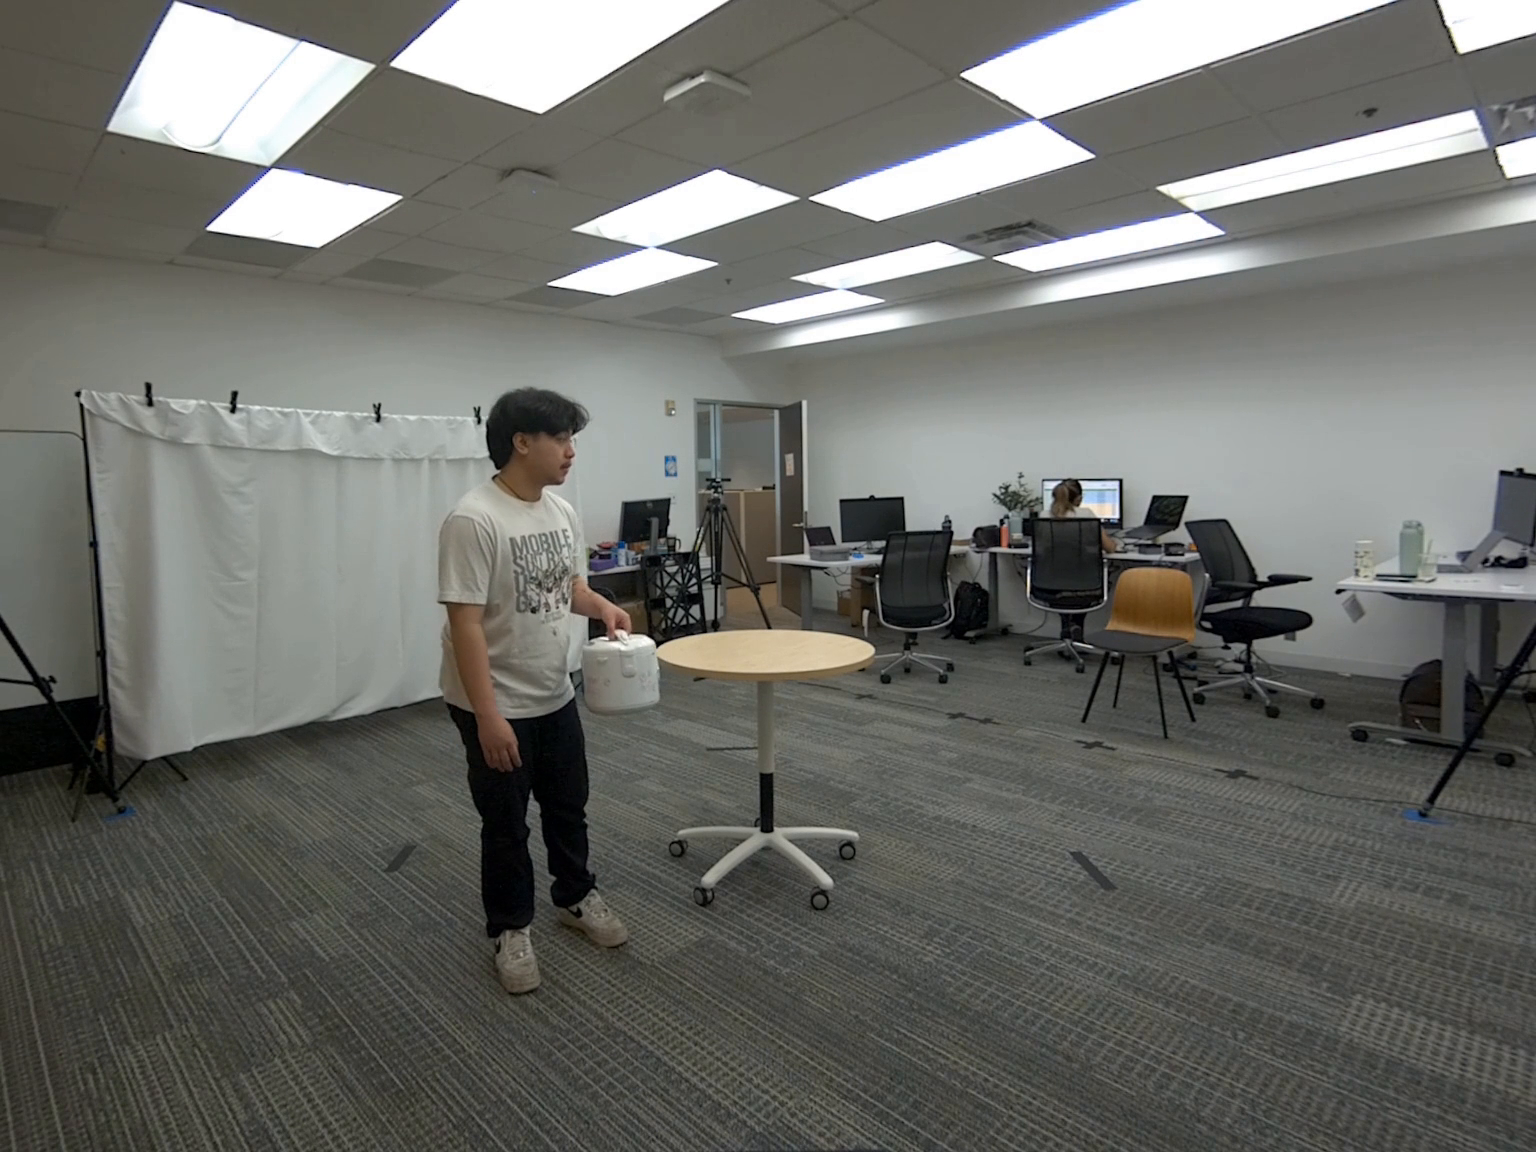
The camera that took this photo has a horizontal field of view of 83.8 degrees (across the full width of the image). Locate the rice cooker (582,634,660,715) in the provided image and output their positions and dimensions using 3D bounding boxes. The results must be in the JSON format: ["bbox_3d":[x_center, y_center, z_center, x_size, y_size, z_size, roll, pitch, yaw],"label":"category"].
[{"bbox_3d":[-0.423,0.271,2.438,0.214,0.232,0.224,-5,2,-20],"label":"rice cooker"}]
